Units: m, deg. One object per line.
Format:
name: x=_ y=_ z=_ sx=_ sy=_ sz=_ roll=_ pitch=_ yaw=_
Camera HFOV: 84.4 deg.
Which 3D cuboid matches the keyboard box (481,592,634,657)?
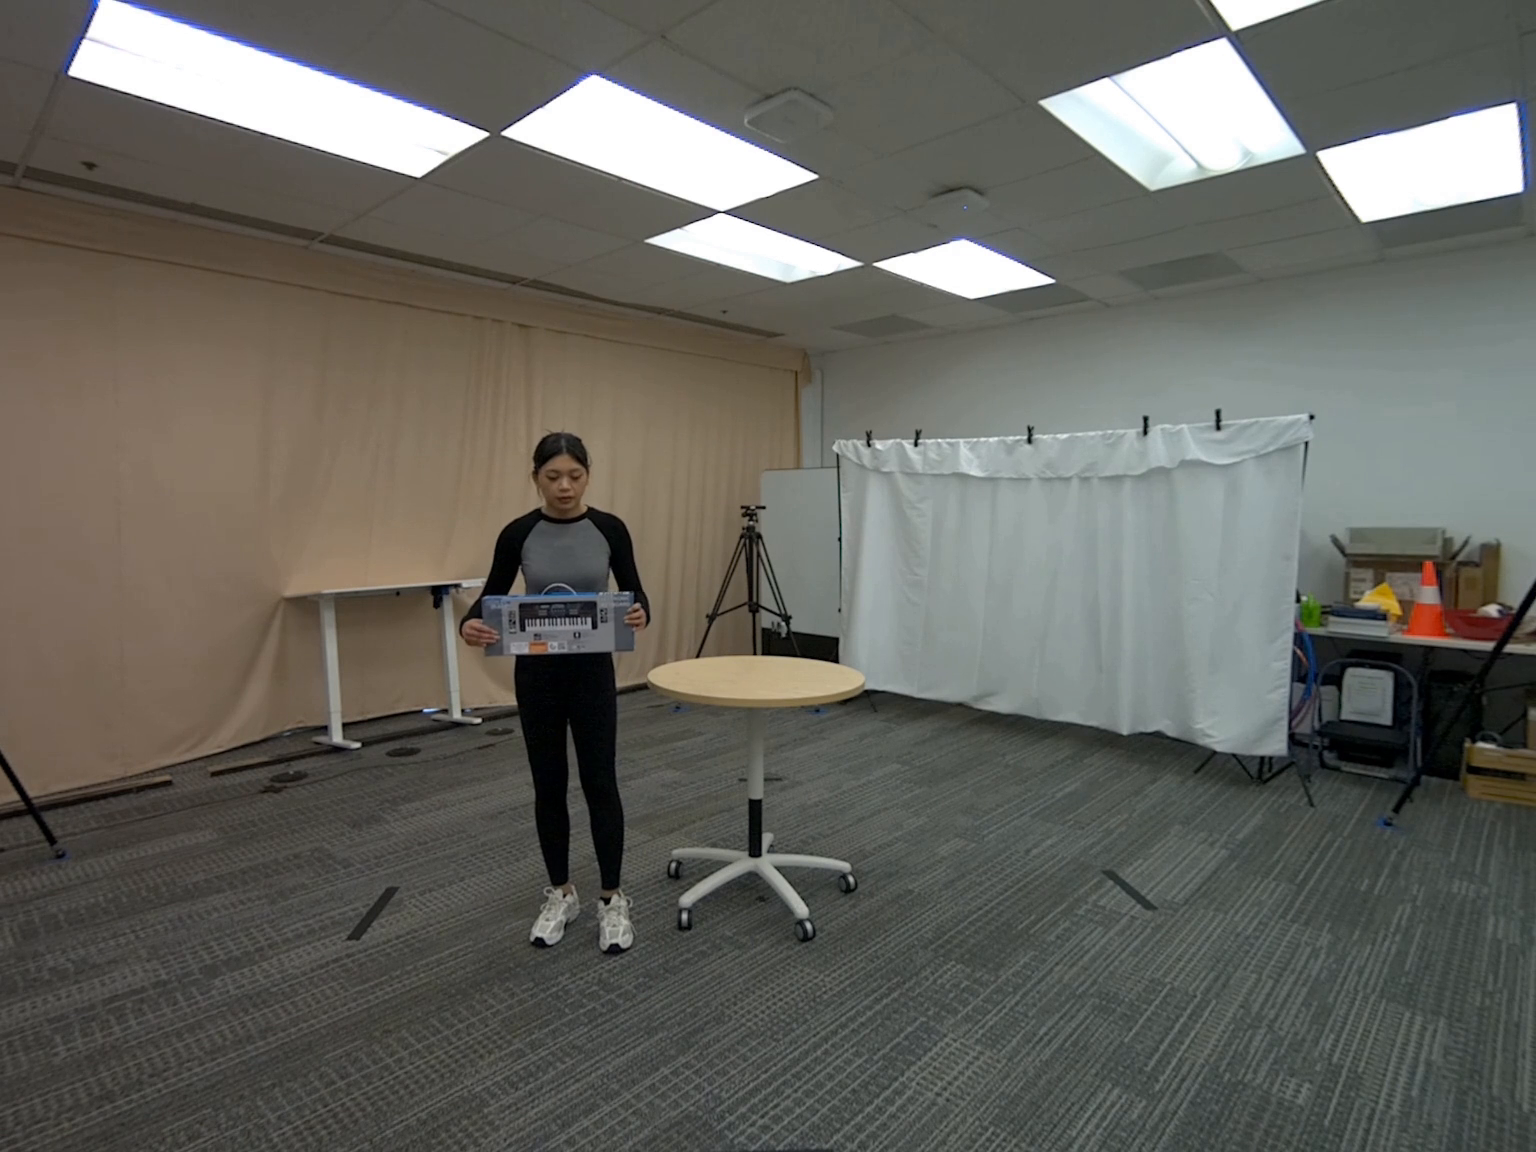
keyboard box: x=-0.620 y=0.145 z=2.490 sx=0.434 sy=0.175 sz=0.059 roll=1 pitch=5 yaw=-5
